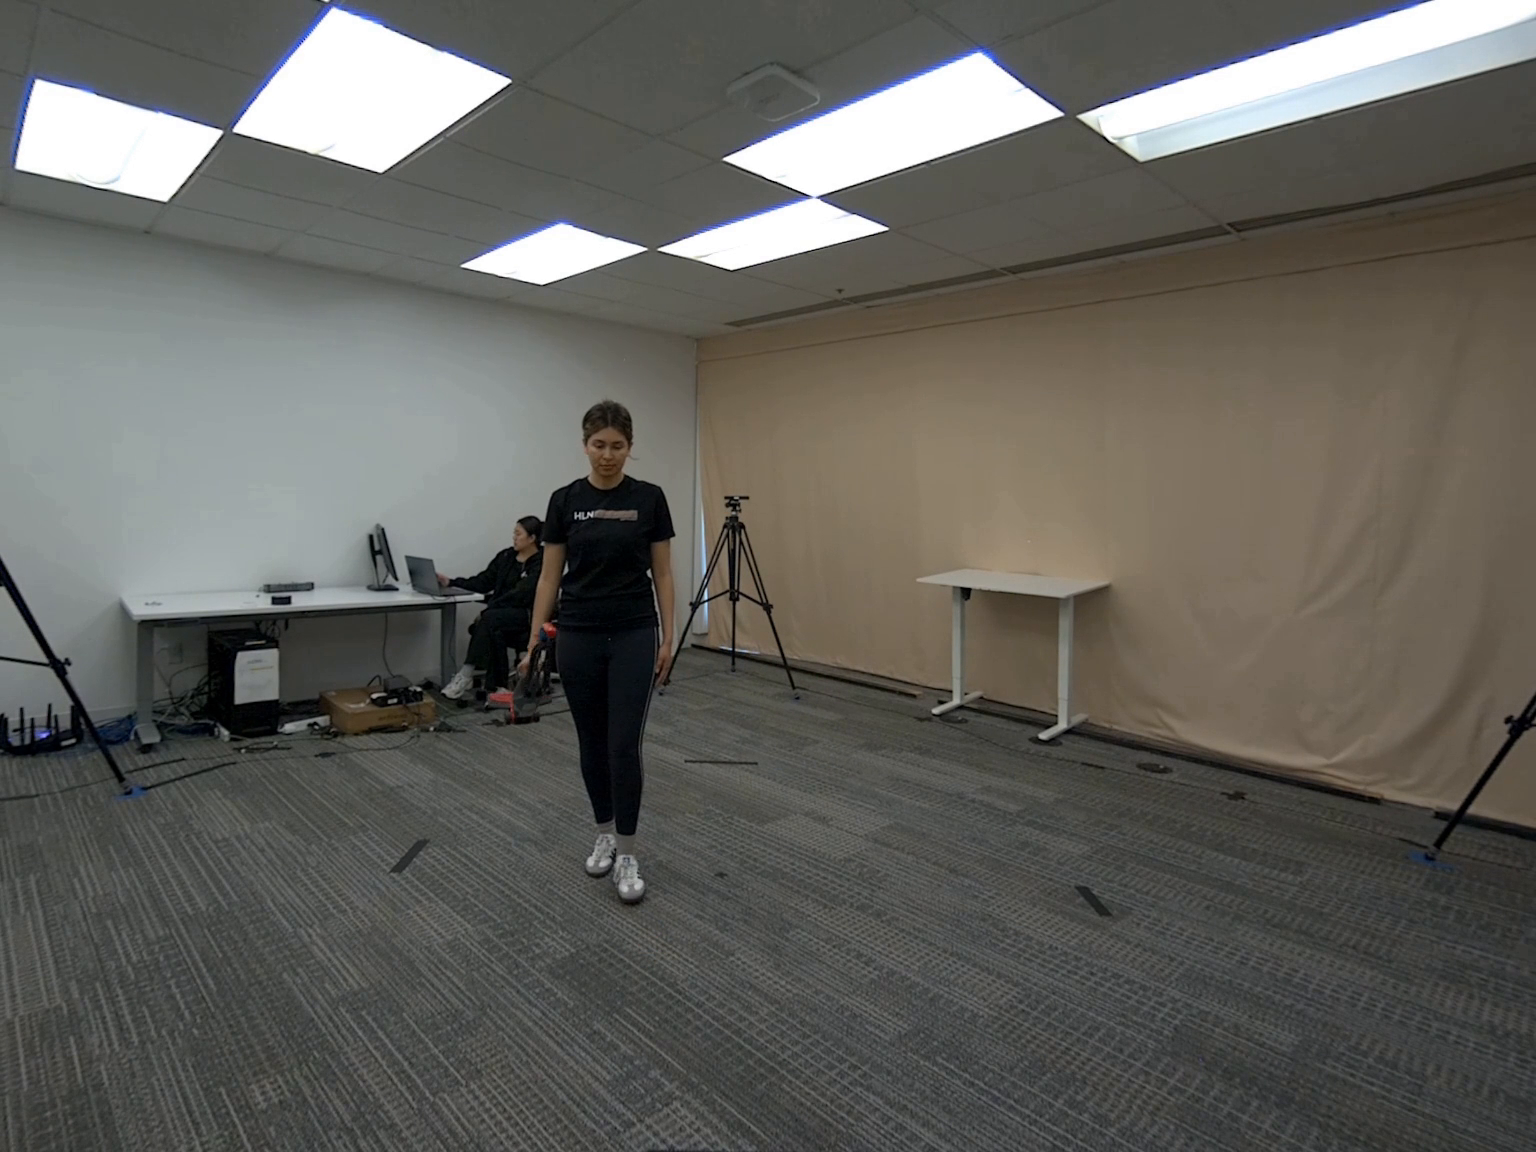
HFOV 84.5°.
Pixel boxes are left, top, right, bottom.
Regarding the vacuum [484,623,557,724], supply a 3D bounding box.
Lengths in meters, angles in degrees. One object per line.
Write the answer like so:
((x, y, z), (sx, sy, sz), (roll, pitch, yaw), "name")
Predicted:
((-0.829, 0.363, 2.914), (0.249, 0.146, 1.047), (0, -21, -20), "vacuum")
